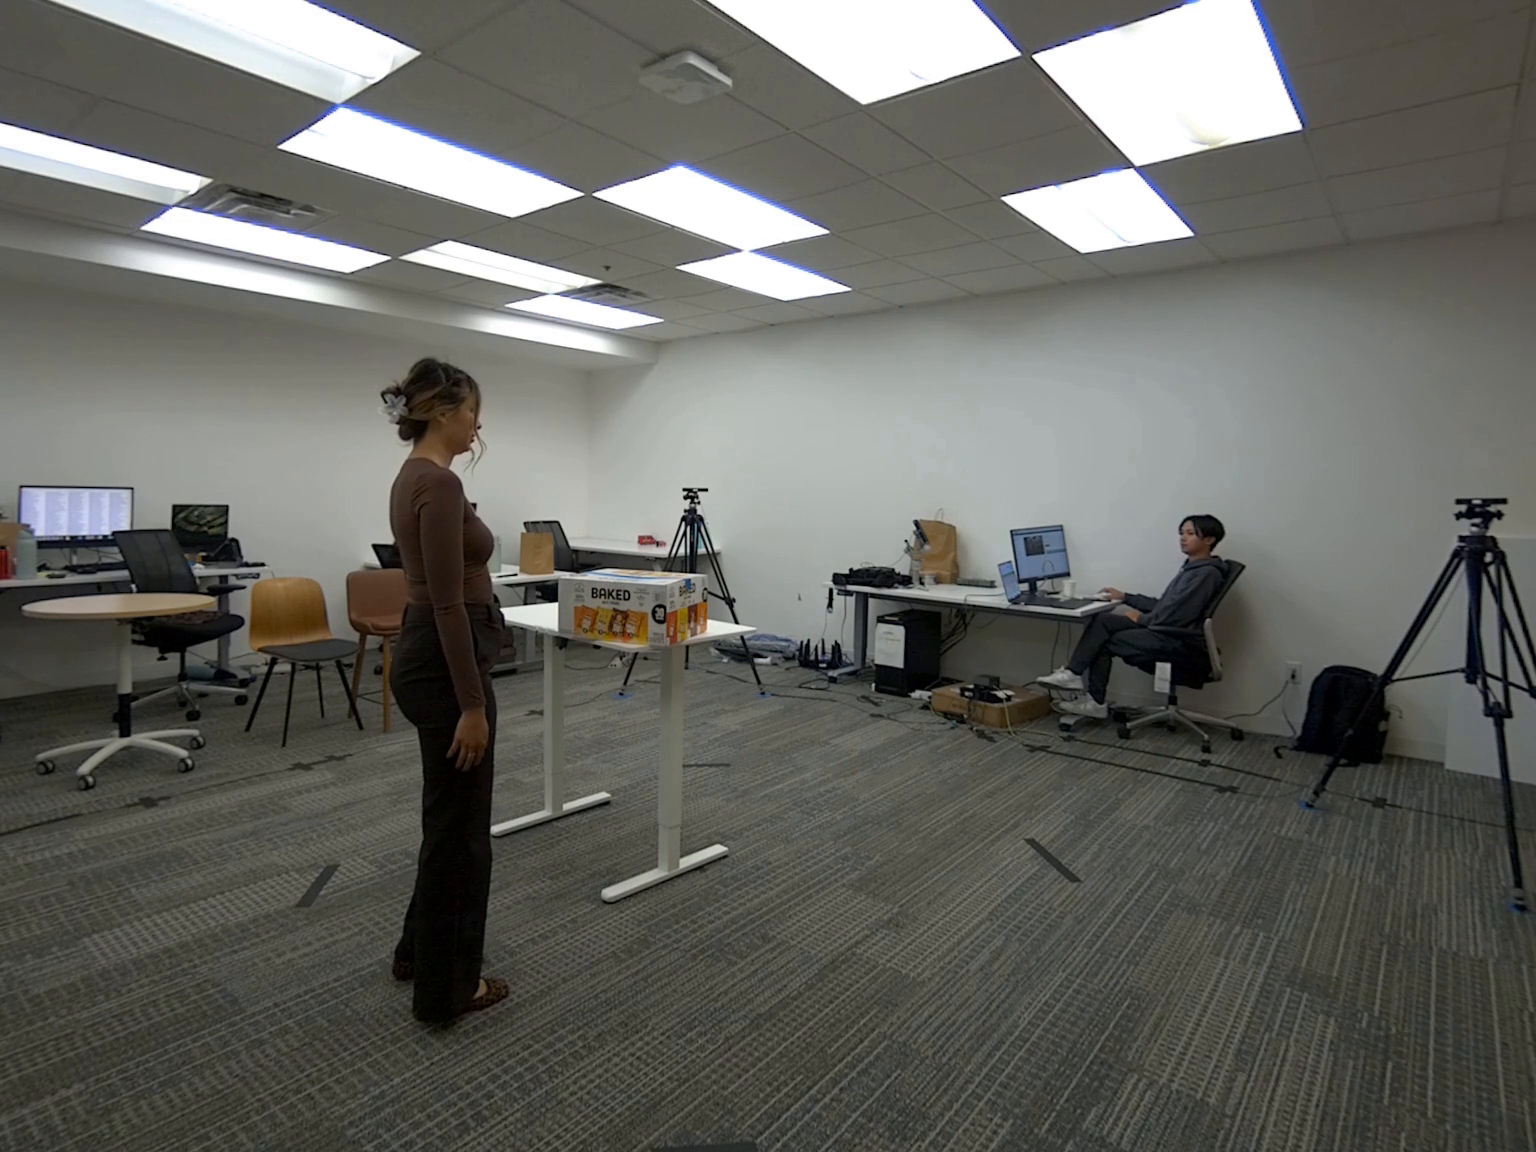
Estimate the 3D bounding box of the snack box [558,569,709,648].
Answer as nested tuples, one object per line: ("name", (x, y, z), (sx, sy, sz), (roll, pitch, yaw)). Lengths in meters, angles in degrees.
("snack box", (-0.472, 0.099, 2.945), (0.414, 0.205, 0.334), (3, 5, 21))
